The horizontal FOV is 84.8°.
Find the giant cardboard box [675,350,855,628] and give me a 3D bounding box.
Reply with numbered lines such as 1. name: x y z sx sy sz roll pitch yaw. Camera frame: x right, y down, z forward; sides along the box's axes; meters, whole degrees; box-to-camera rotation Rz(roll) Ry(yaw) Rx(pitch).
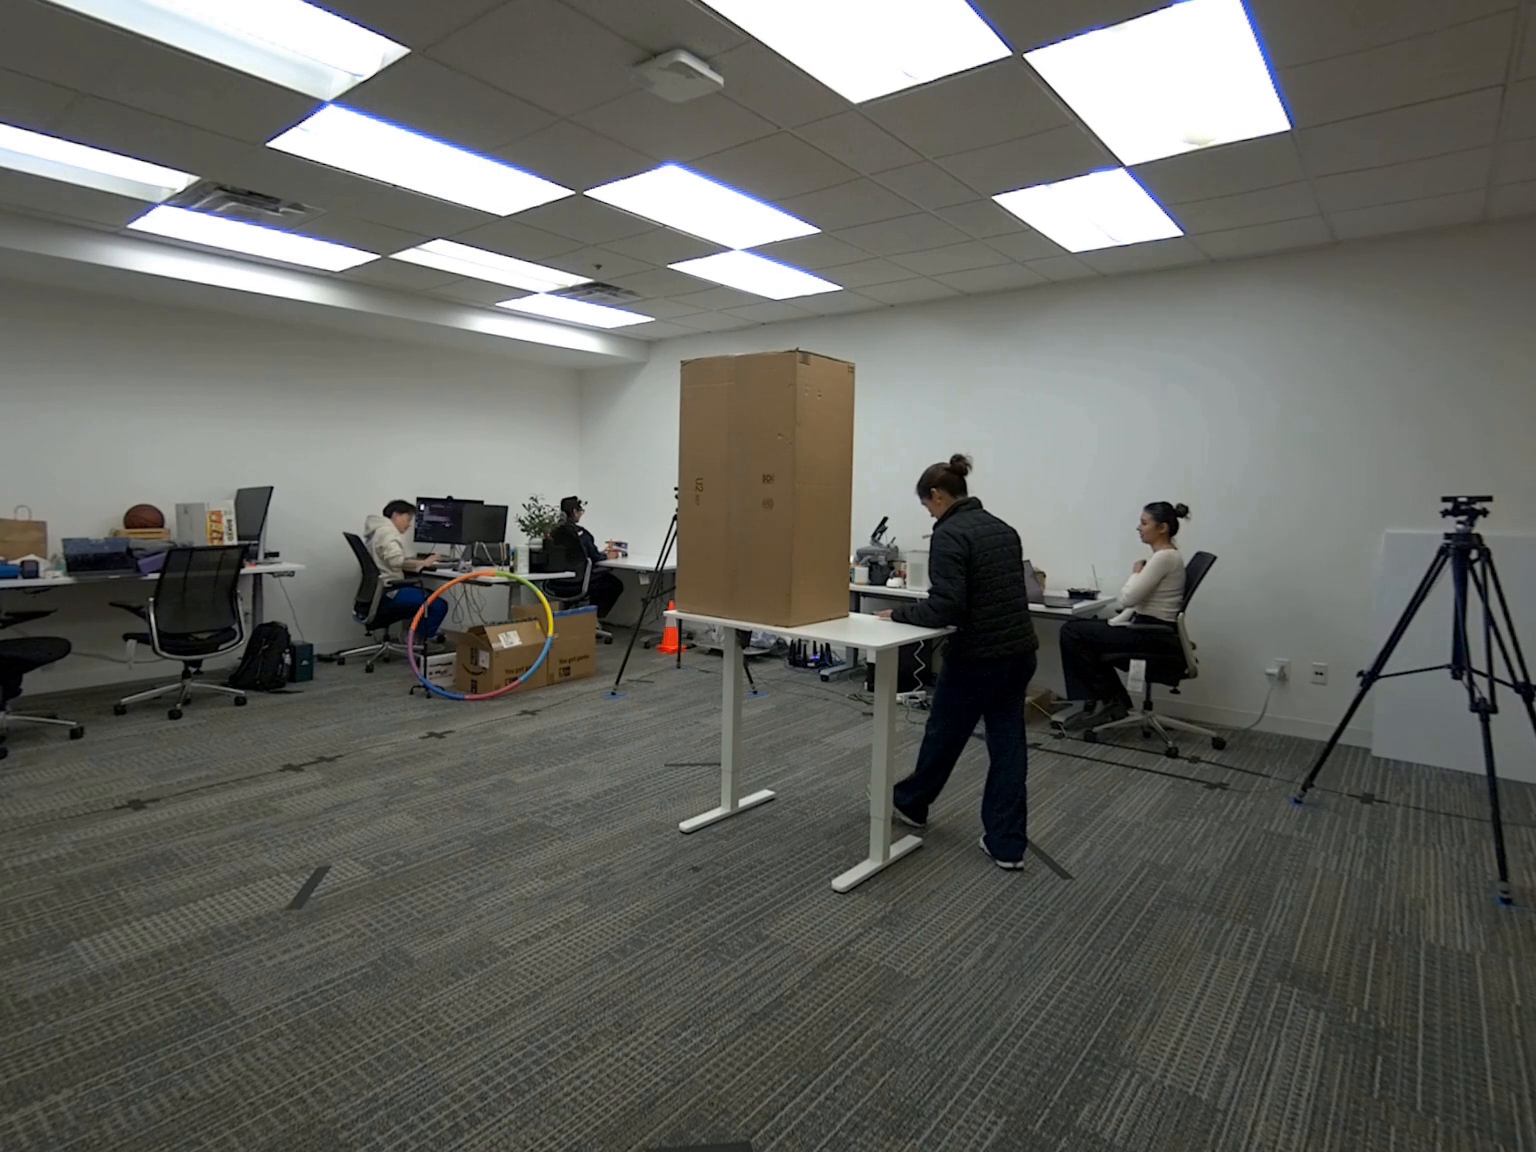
1. giant cardboard box: 0.005 -0.356 3.454 0.597 1.023 0.413 4 4 38
